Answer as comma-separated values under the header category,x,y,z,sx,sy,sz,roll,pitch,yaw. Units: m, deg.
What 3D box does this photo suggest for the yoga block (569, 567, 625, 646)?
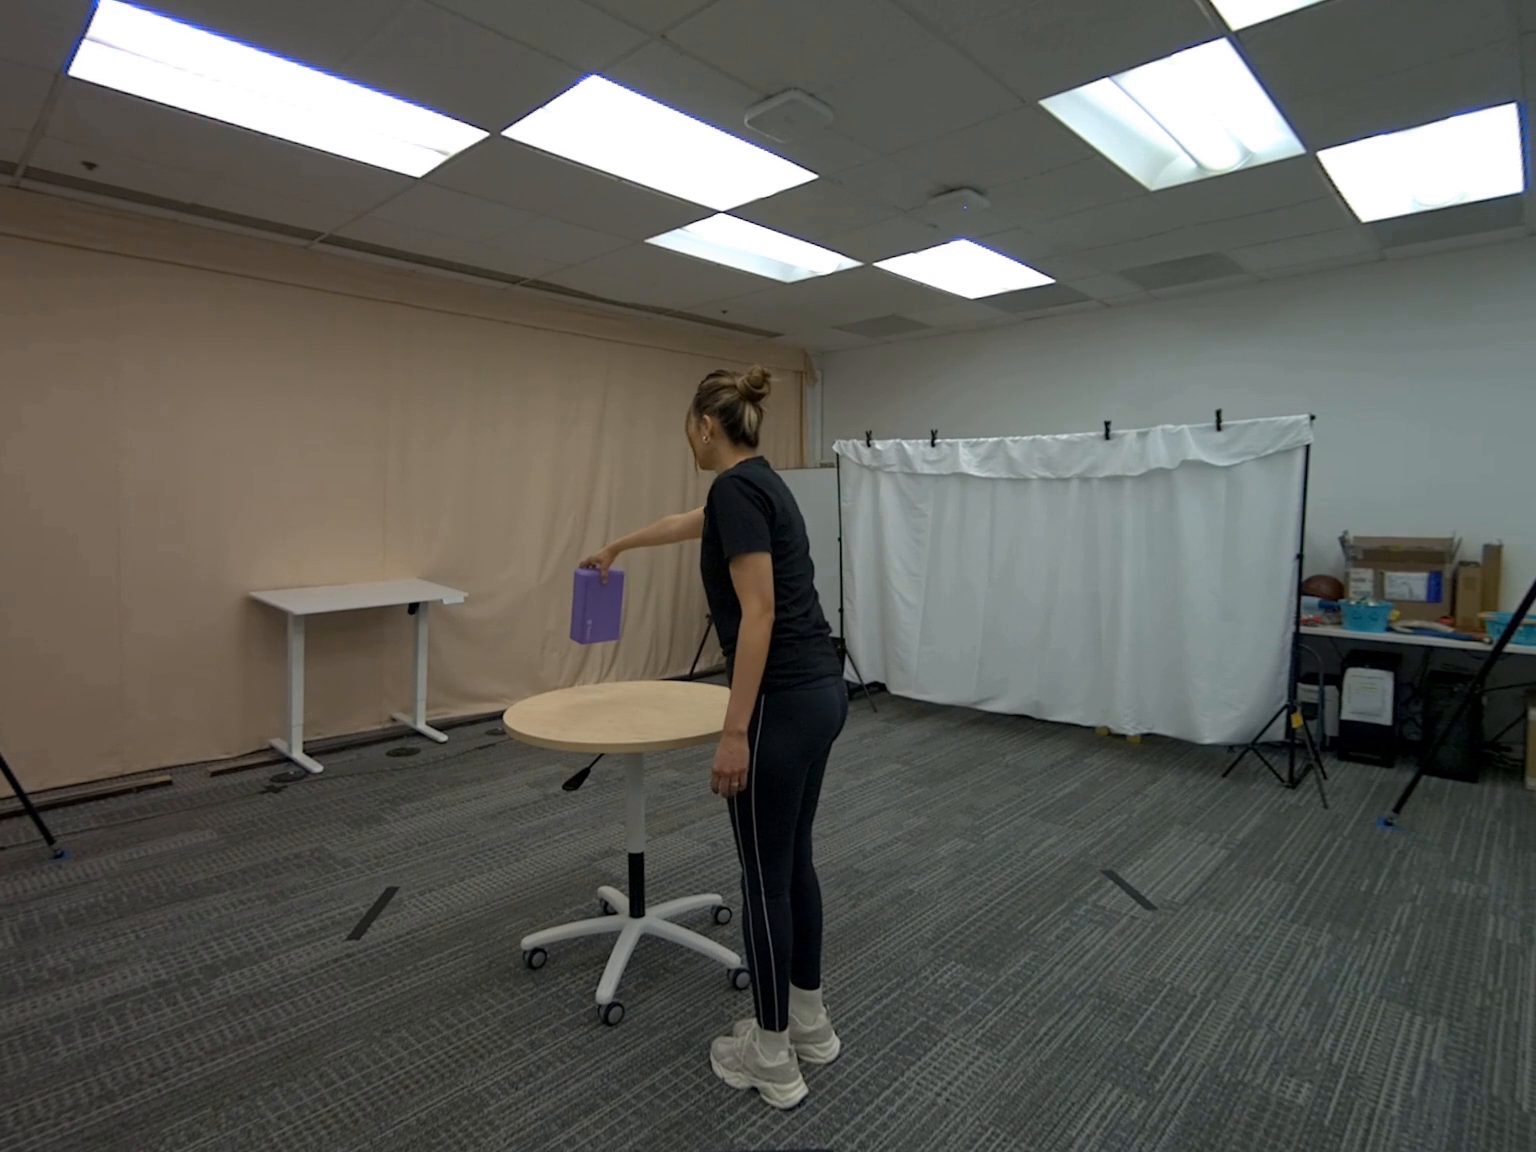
category,x,y,z,sx,sy,sz,roll,pitch,yaw
yoga block,-0.540,0.095,2.643,0.144,0.228,0.079,-5,15,-43
